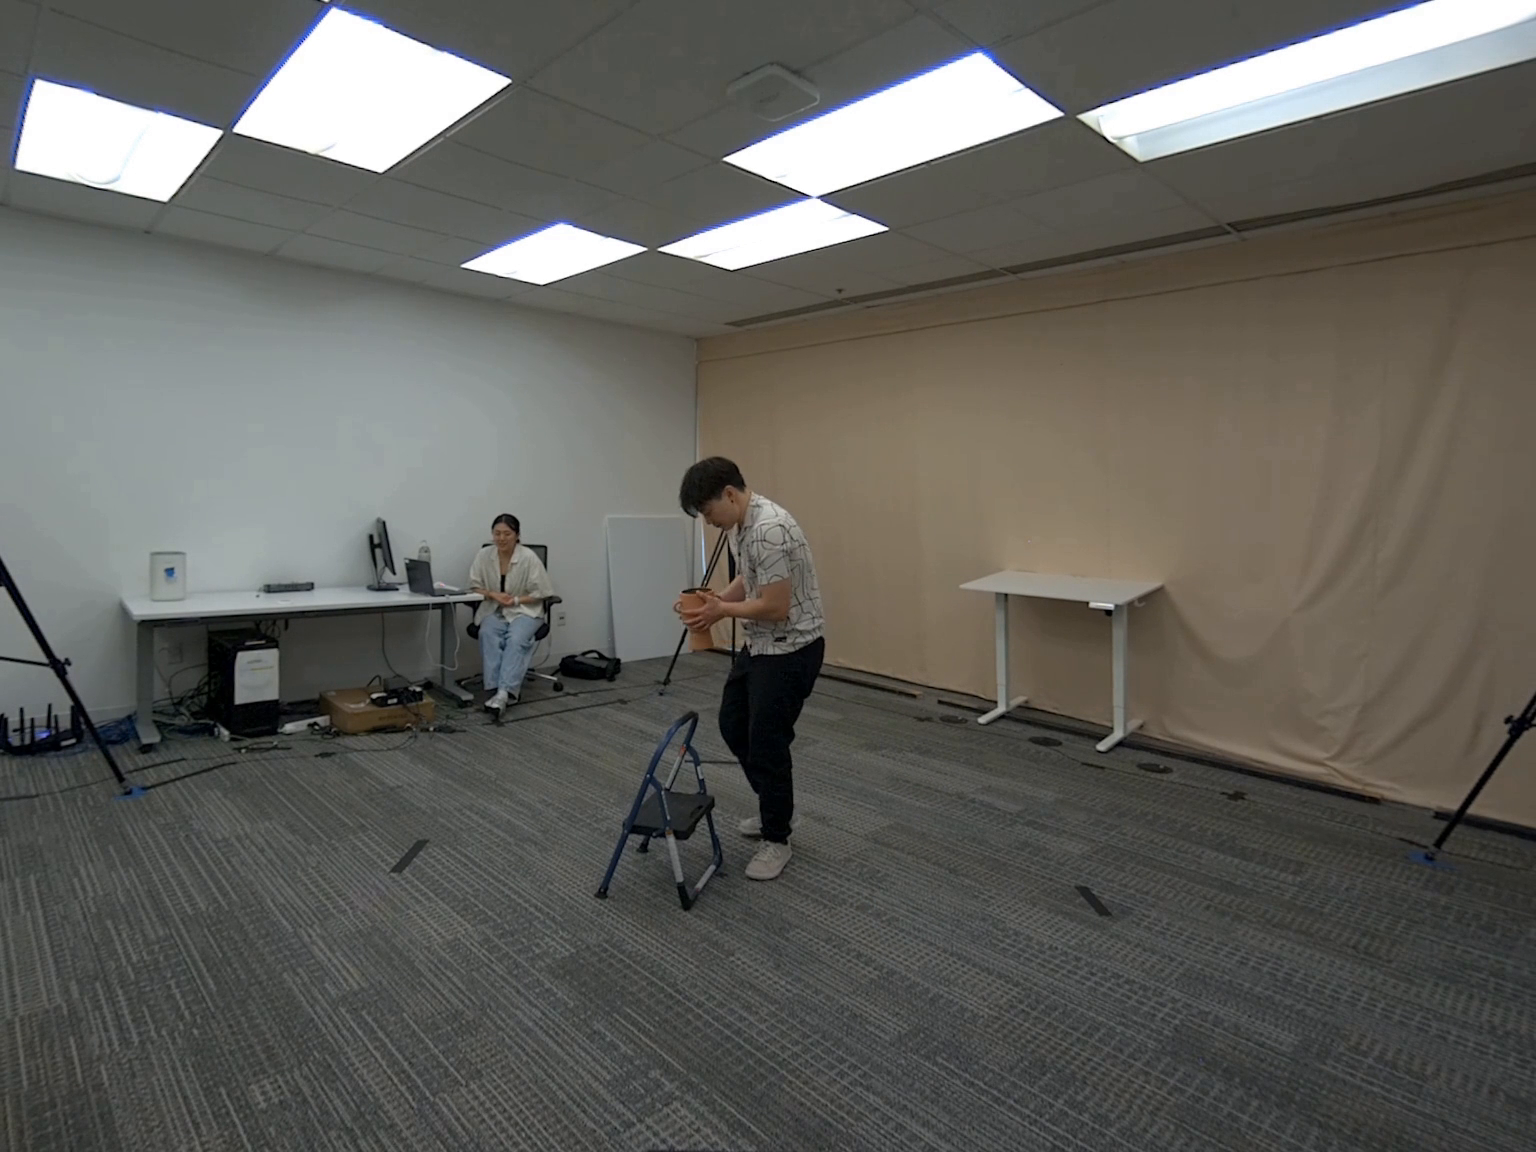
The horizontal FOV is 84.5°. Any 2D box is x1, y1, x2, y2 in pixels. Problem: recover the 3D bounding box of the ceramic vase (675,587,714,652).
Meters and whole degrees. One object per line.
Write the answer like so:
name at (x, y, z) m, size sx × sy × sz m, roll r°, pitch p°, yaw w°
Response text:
ceramic vase at (-0.264, 0.164, 3.214) m, size 0.160 × 0.218 × 0.134 m, roll -1°, pitch 9°, yaw 14°
